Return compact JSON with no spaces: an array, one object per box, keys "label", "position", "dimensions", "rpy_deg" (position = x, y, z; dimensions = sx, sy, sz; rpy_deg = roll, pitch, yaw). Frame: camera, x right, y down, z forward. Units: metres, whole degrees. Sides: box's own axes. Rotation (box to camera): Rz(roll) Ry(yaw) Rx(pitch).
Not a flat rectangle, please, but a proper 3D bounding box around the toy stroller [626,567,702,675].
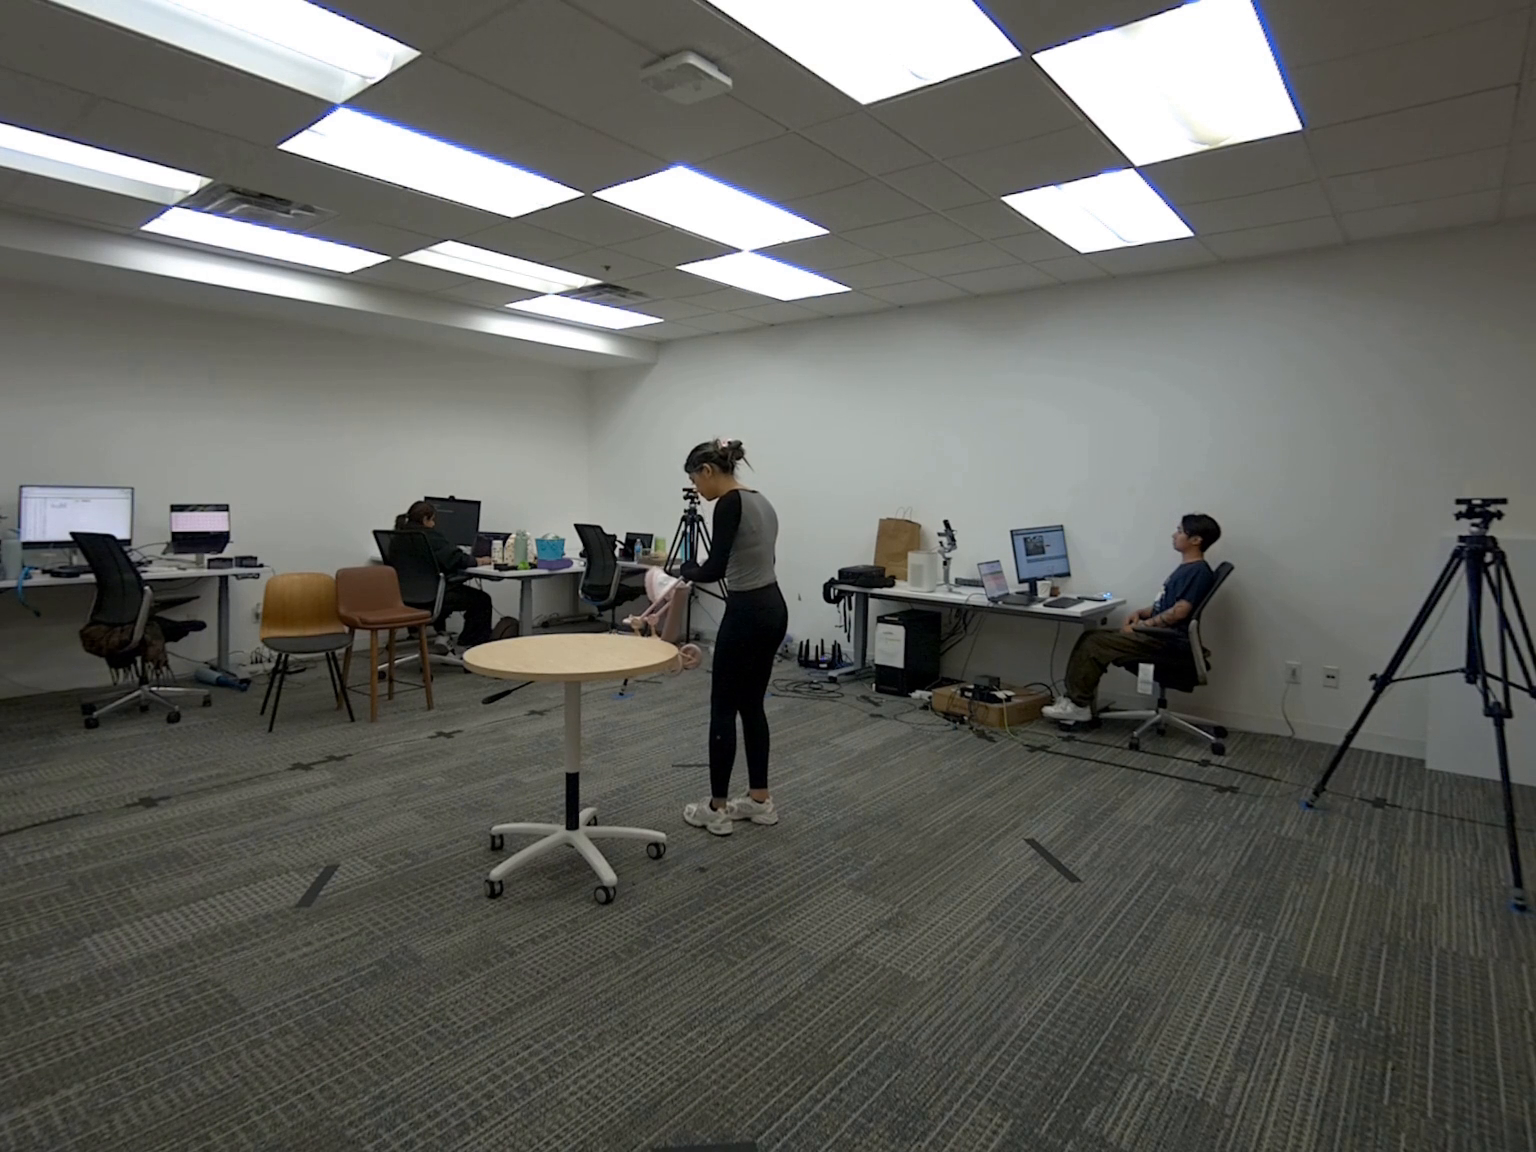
[{"label":"toy stroller","position":[-0.482,0.201,3.700],"dimensions":[0.350,0.534,0.275],"rpy_deg":[5,2,22]}]
